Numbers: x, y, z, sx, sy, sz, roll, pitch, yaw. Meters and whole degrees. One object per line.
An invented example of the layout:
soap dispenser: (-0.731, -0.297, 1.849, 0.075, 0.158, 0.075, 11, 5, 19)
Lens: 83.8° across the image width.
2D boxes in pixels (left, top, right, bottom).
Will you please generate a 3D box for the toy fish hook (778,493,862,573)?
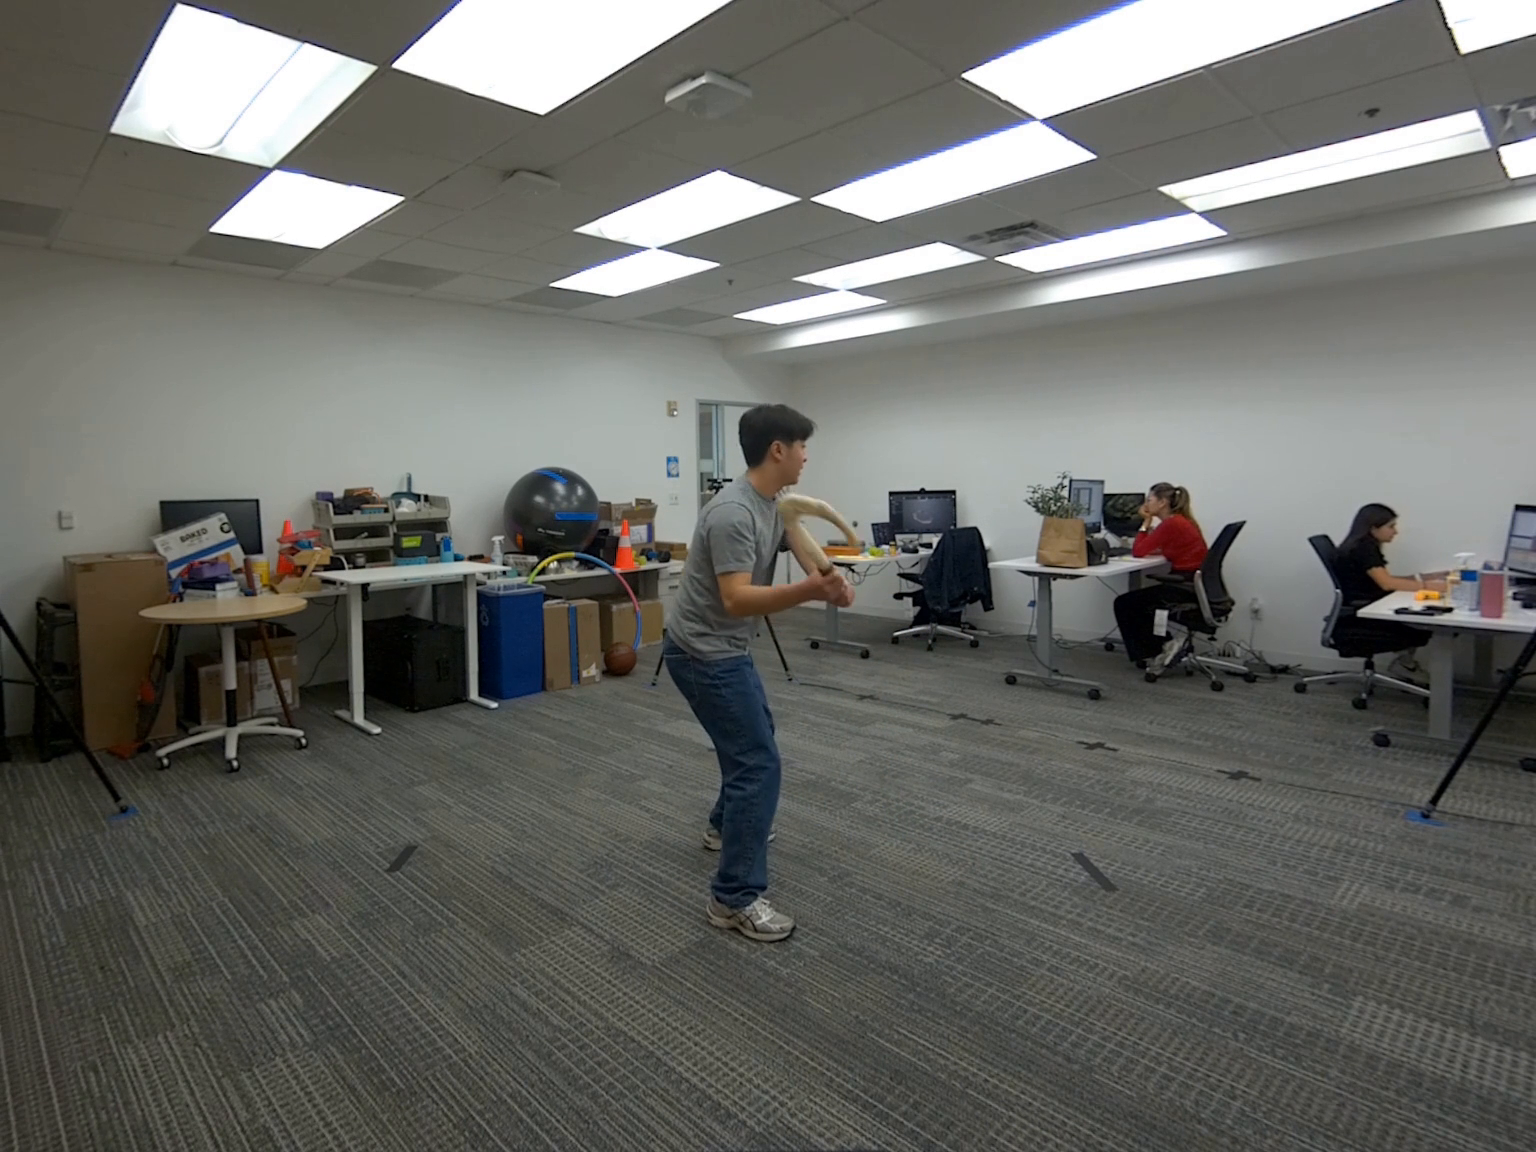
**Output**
toy fish hook: (0.170, -0.026, 2.351, 0.232, 0.048, 0.488, 22, -25, 34)
